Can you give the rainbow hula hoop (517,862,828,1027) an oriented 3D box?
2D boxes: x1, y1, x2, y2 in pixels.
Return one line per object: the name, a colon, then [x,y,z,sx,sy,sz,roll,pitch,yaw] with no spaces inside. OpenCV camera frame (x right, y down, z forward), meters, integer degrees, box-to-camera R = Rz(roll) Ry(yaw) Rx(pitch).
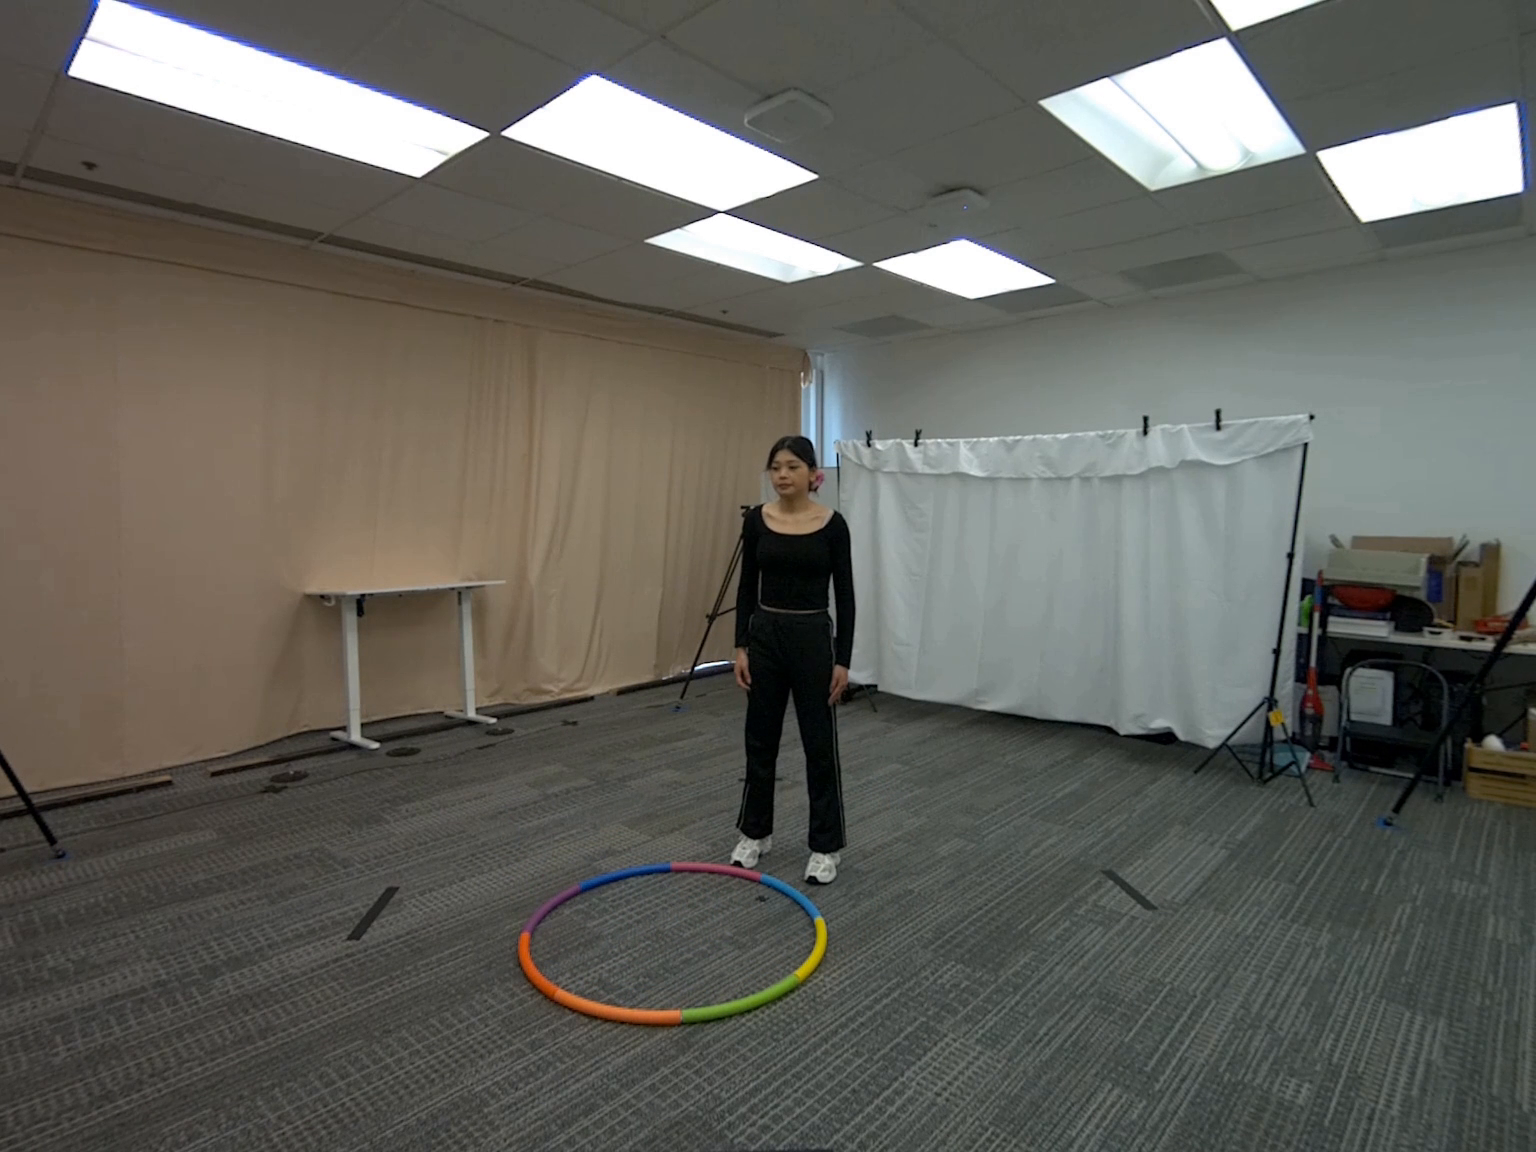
rainbow hula hoop: [-0.303,1.138,2.739,0.978,0.035,0.982,-1,4,-2]
